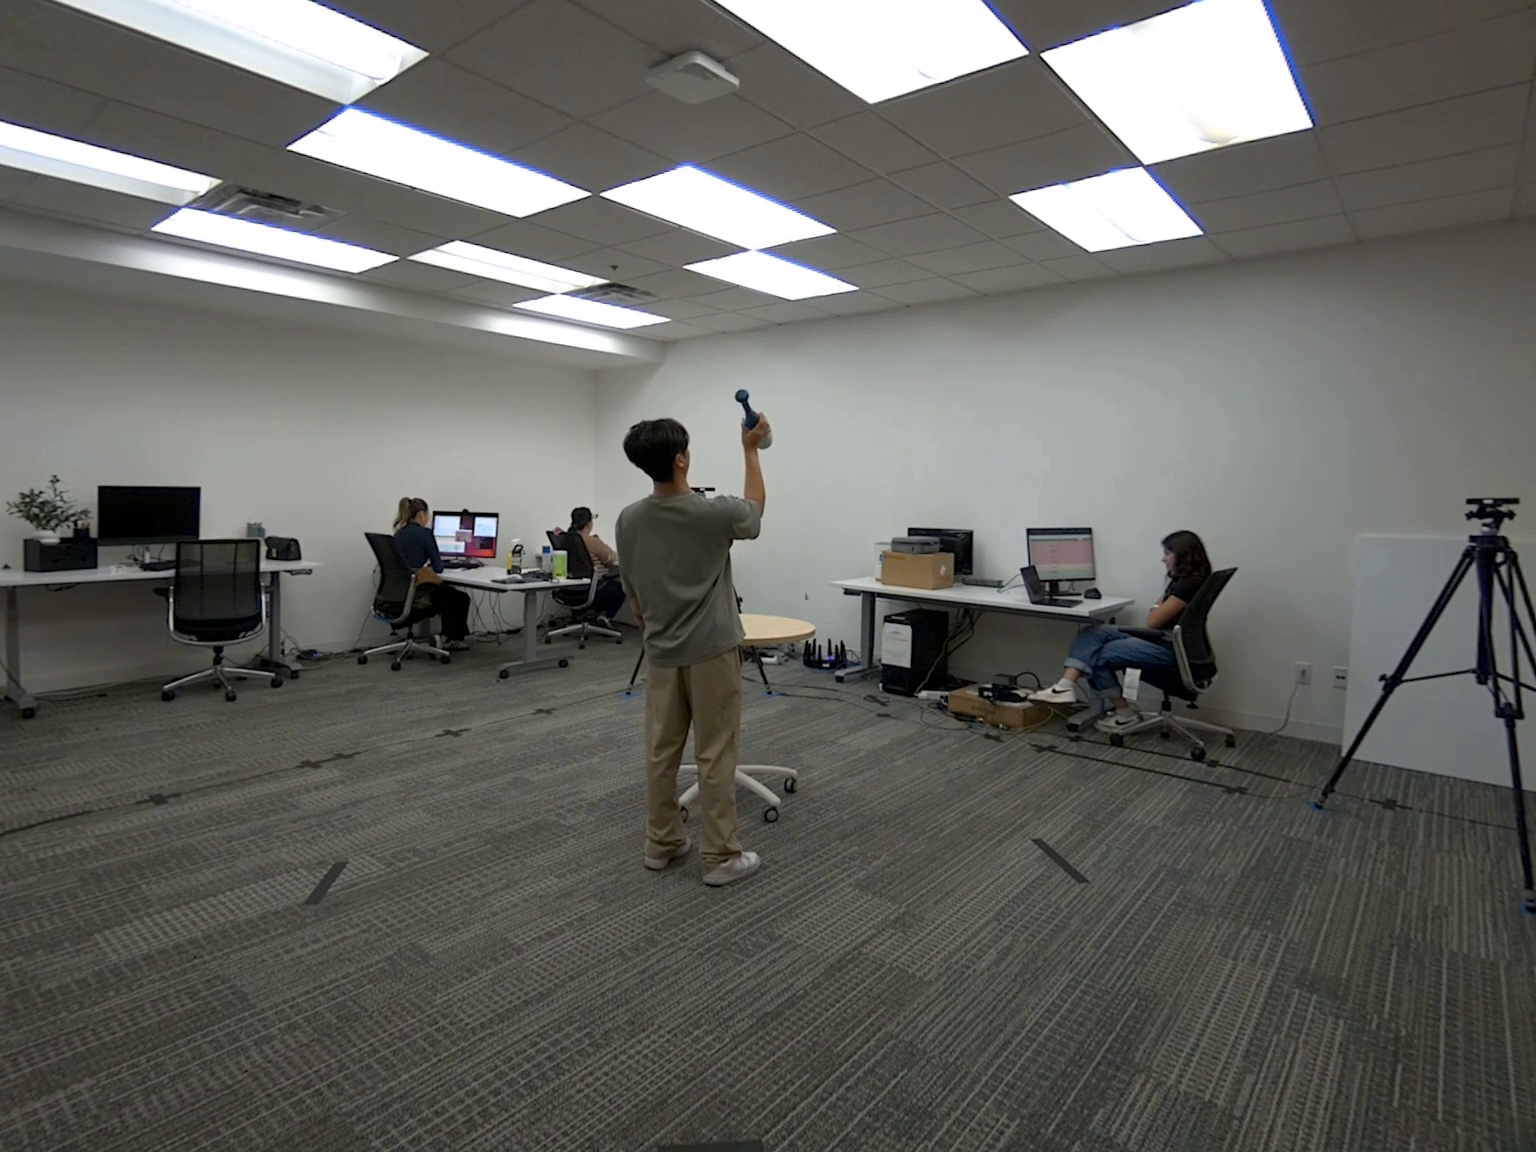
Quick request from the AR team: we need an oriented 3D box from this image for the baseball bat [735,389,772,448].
[{"bbox_3d":[-0.066,-0.603,3.256,0.090,0.090,0.533,2,-8,7],"label":"baseball bat"}]
